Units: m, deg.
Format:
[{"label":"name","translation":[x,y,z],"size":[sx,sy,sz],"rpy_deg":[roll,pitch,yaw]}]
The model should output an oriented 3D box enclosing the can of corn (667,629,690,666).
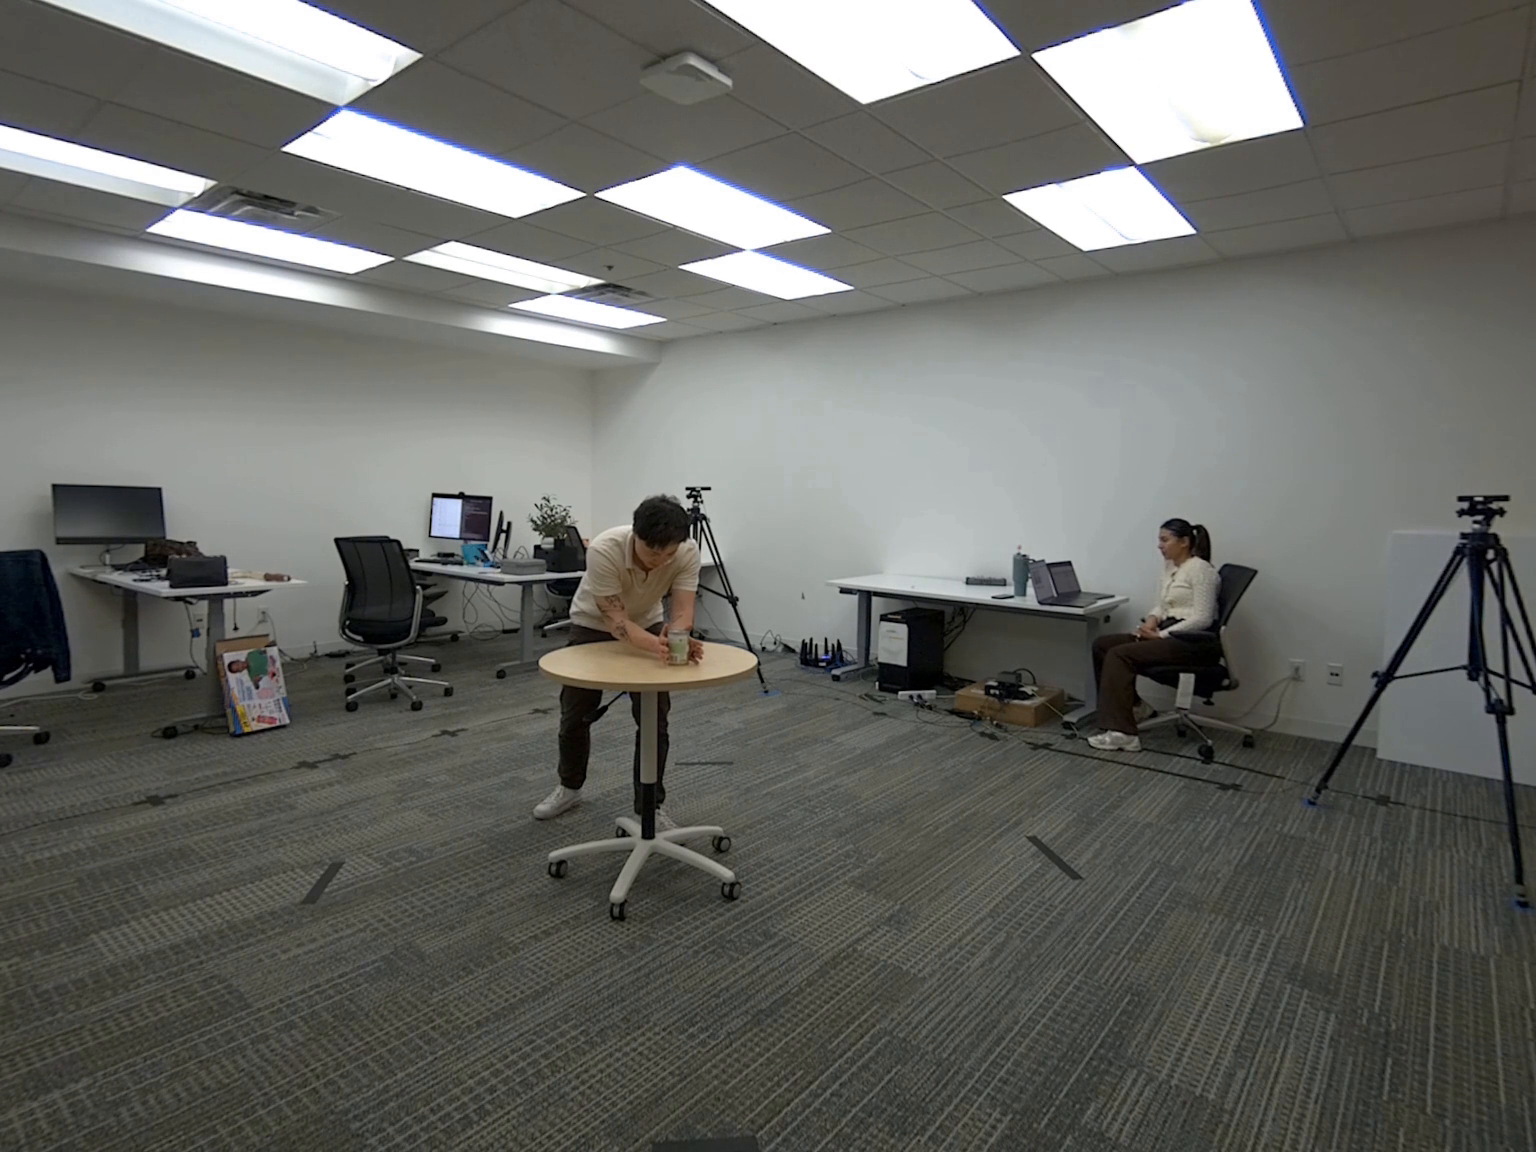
[{"label":"can of corn","translation":[-0.326,0.245,2.901],"size":[0.074,0.111,0.074],"rpy_deg":[0,3,-2]}]
